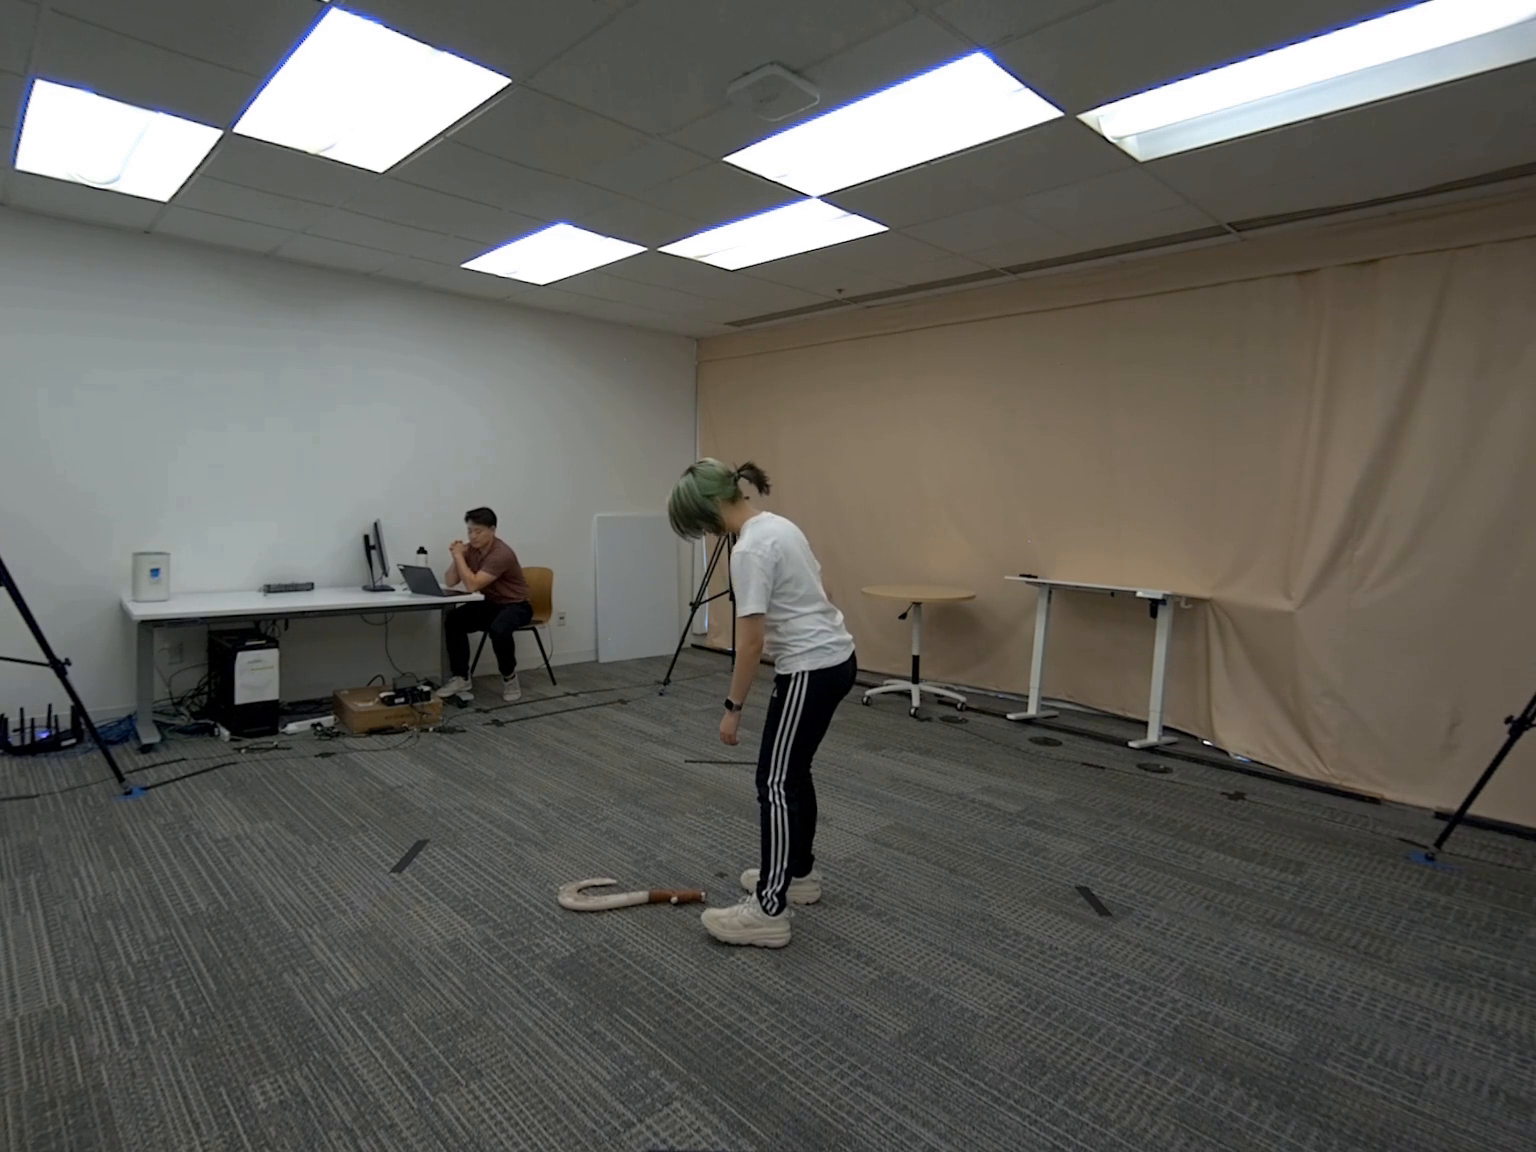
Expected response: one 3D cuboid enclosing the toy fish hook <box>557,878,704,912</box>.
[{"bbox_3d":[-0.473,1.090,2.915,0.504,0.048,0.227,1,7,-7],"label":"toy fish hook"}]
